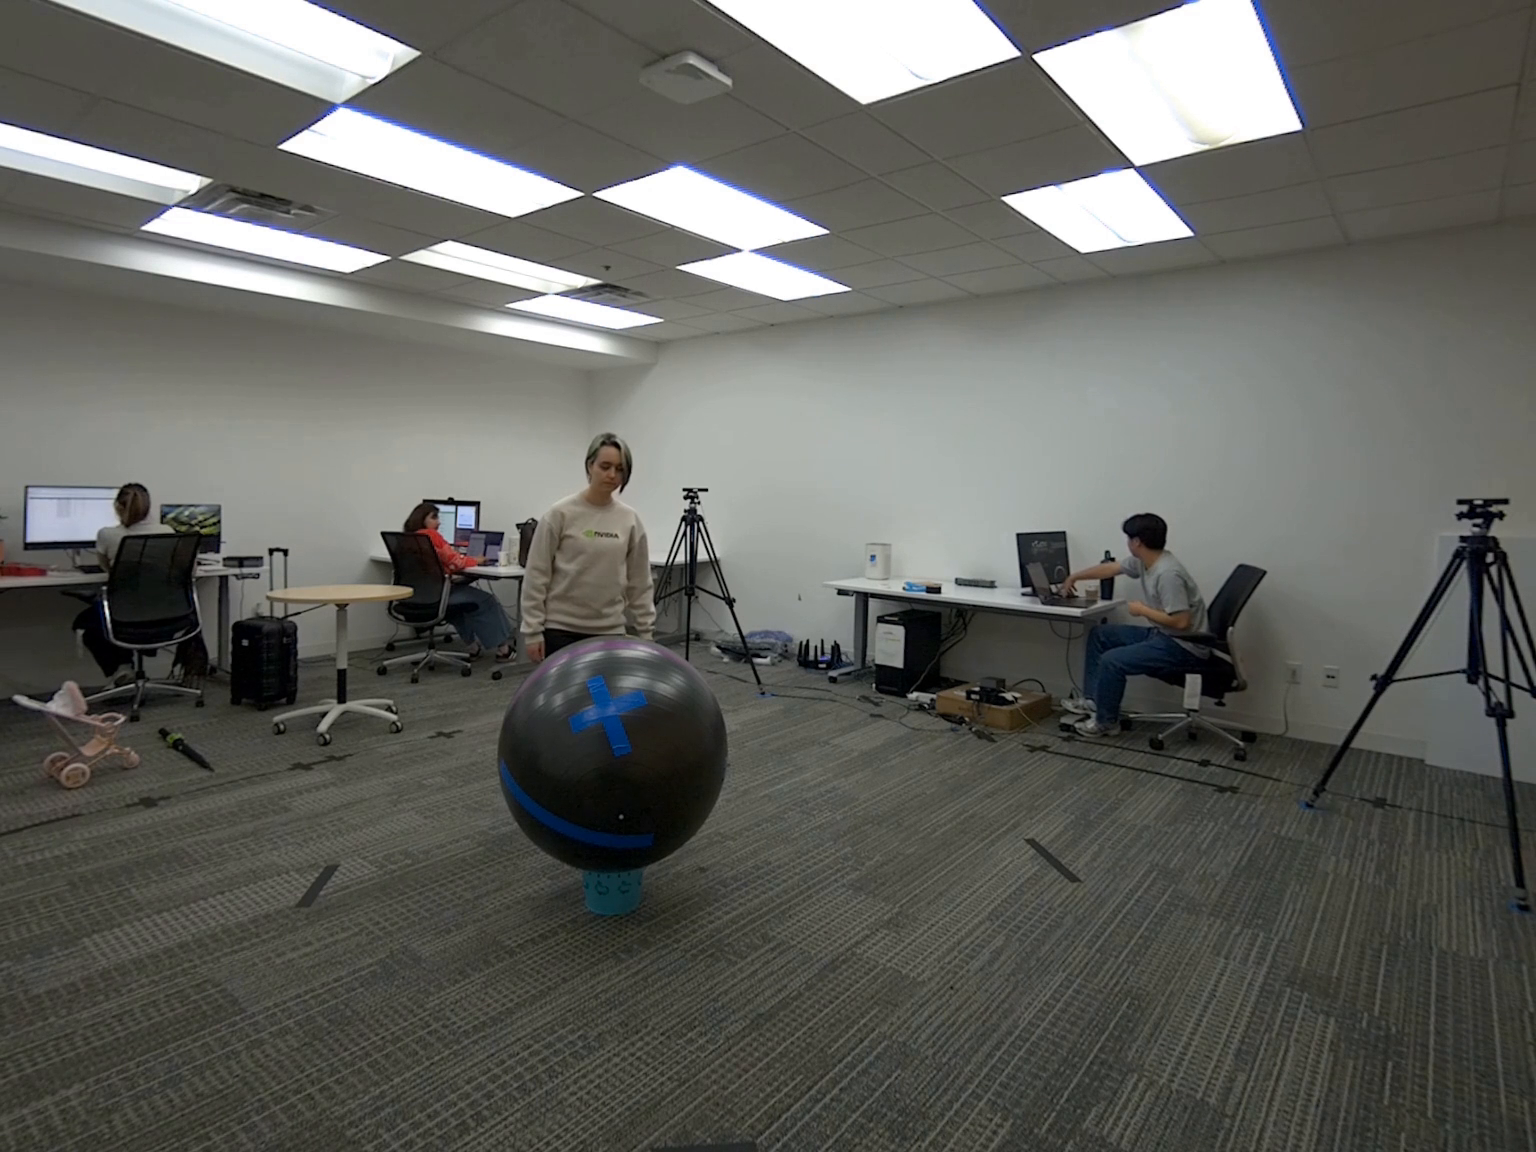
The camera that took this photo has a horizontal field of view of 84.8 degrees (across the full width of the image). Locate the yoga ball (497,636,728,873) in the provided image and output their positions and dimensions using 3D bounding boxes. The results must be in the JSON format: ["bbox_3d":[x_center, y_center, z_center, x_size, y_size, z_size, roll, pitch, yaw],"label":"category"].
[{"bbox_3d":[-0.521,0.578,2.828,0.757,0.755,0.762,1,4,-2],"label":"yoga ball"}]
